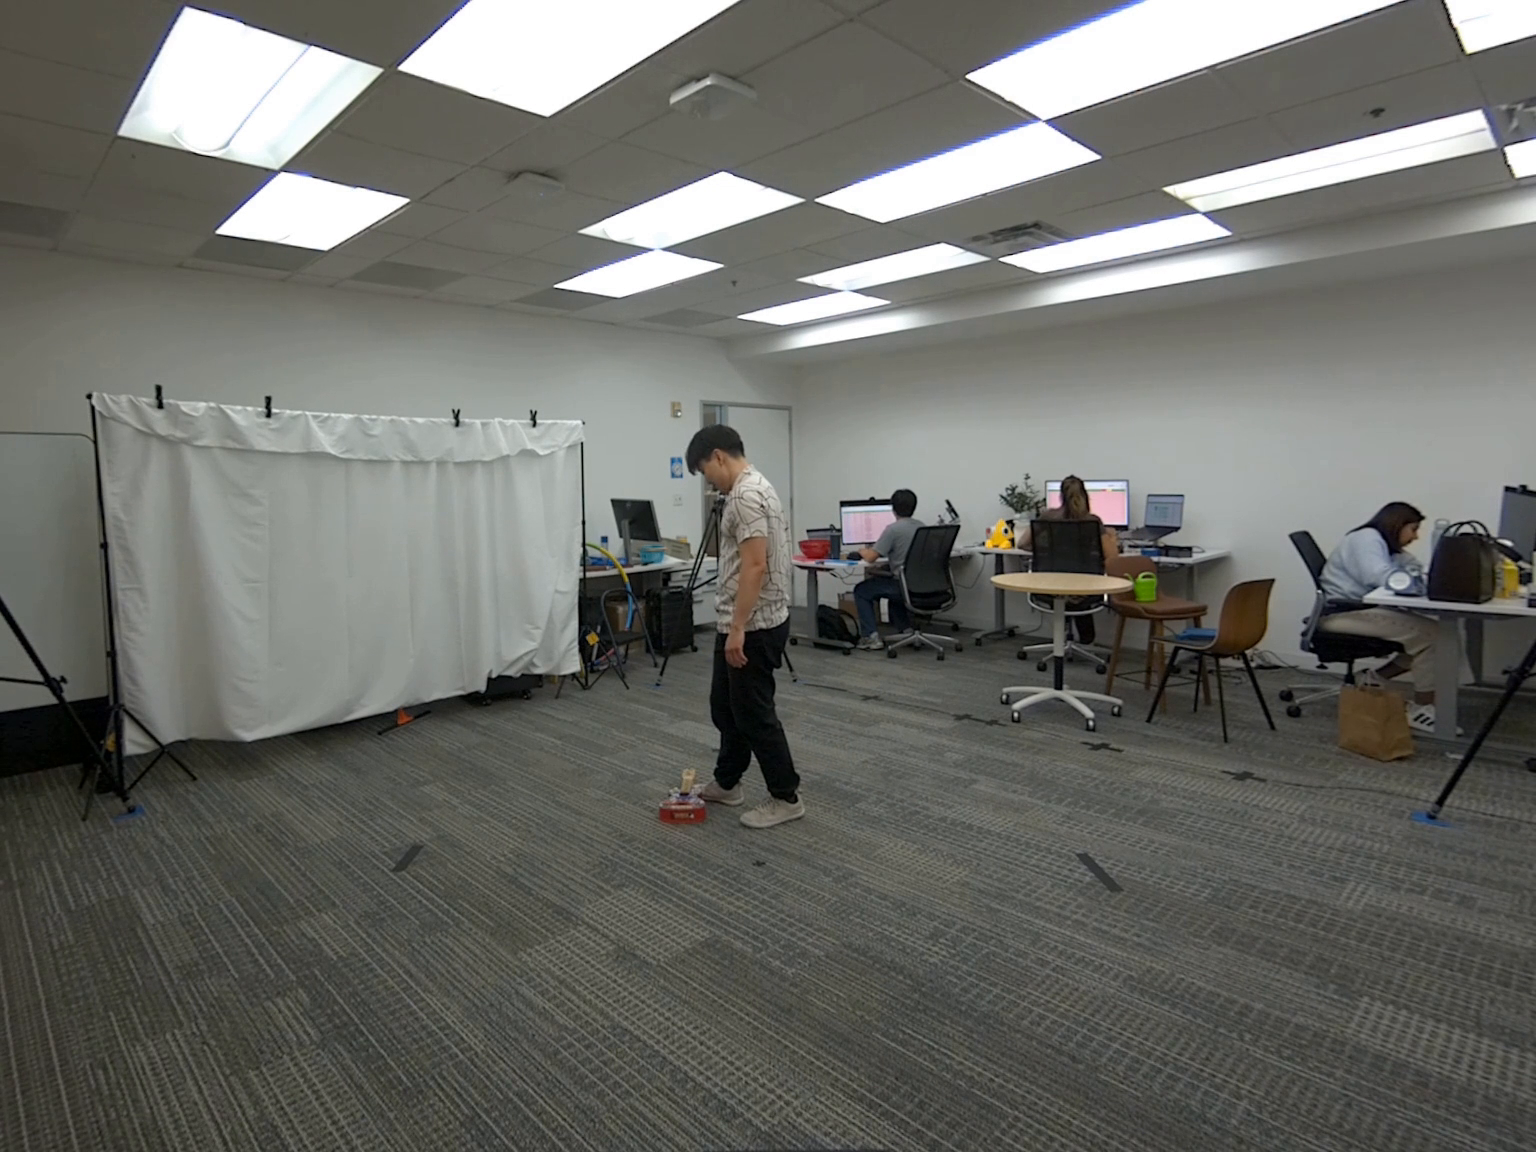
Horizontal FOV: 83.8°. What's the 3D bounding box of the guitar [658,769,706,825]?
[{"bbox_3d":[-0.328,0.951,3.734,0.195,0.070,0.495,-1,6,8],"label":"guitar"}]
